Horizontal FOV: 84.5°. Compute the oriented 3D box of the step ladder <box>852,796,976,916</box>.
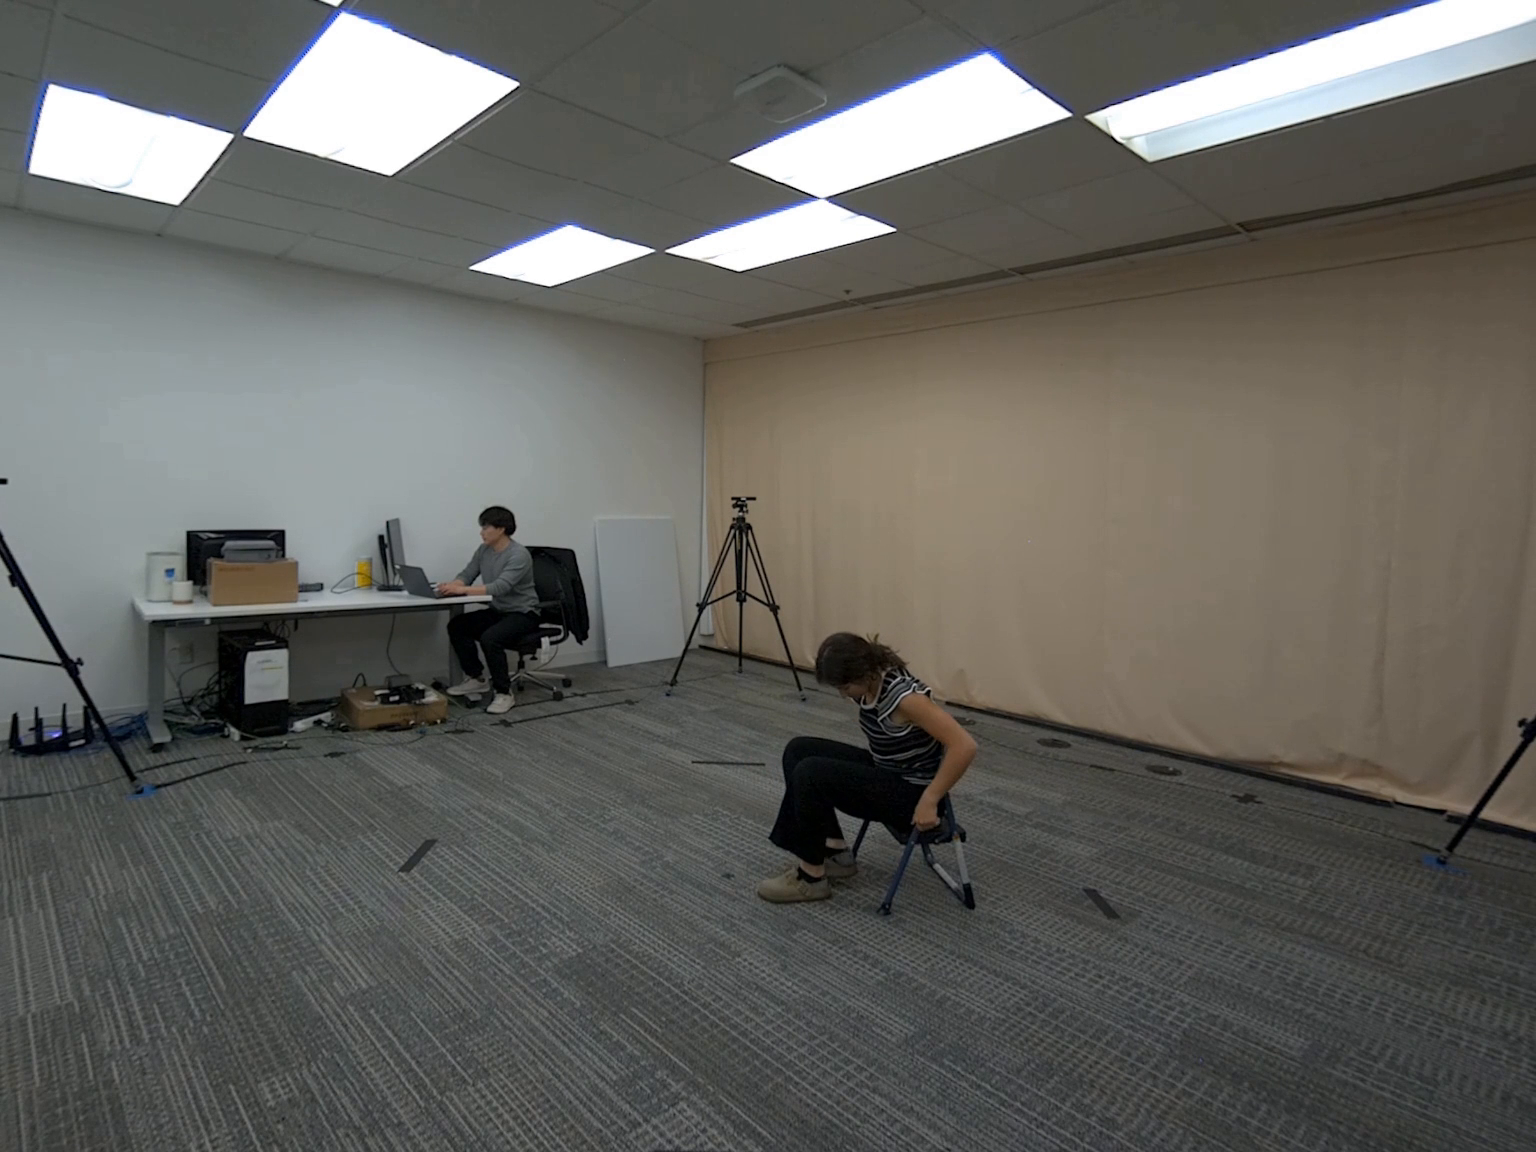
[{"bbox_3d":[0.507,0.841,3.053,0.346,0.604,0.436,1,5,-10],"label":"step ladder"}]
